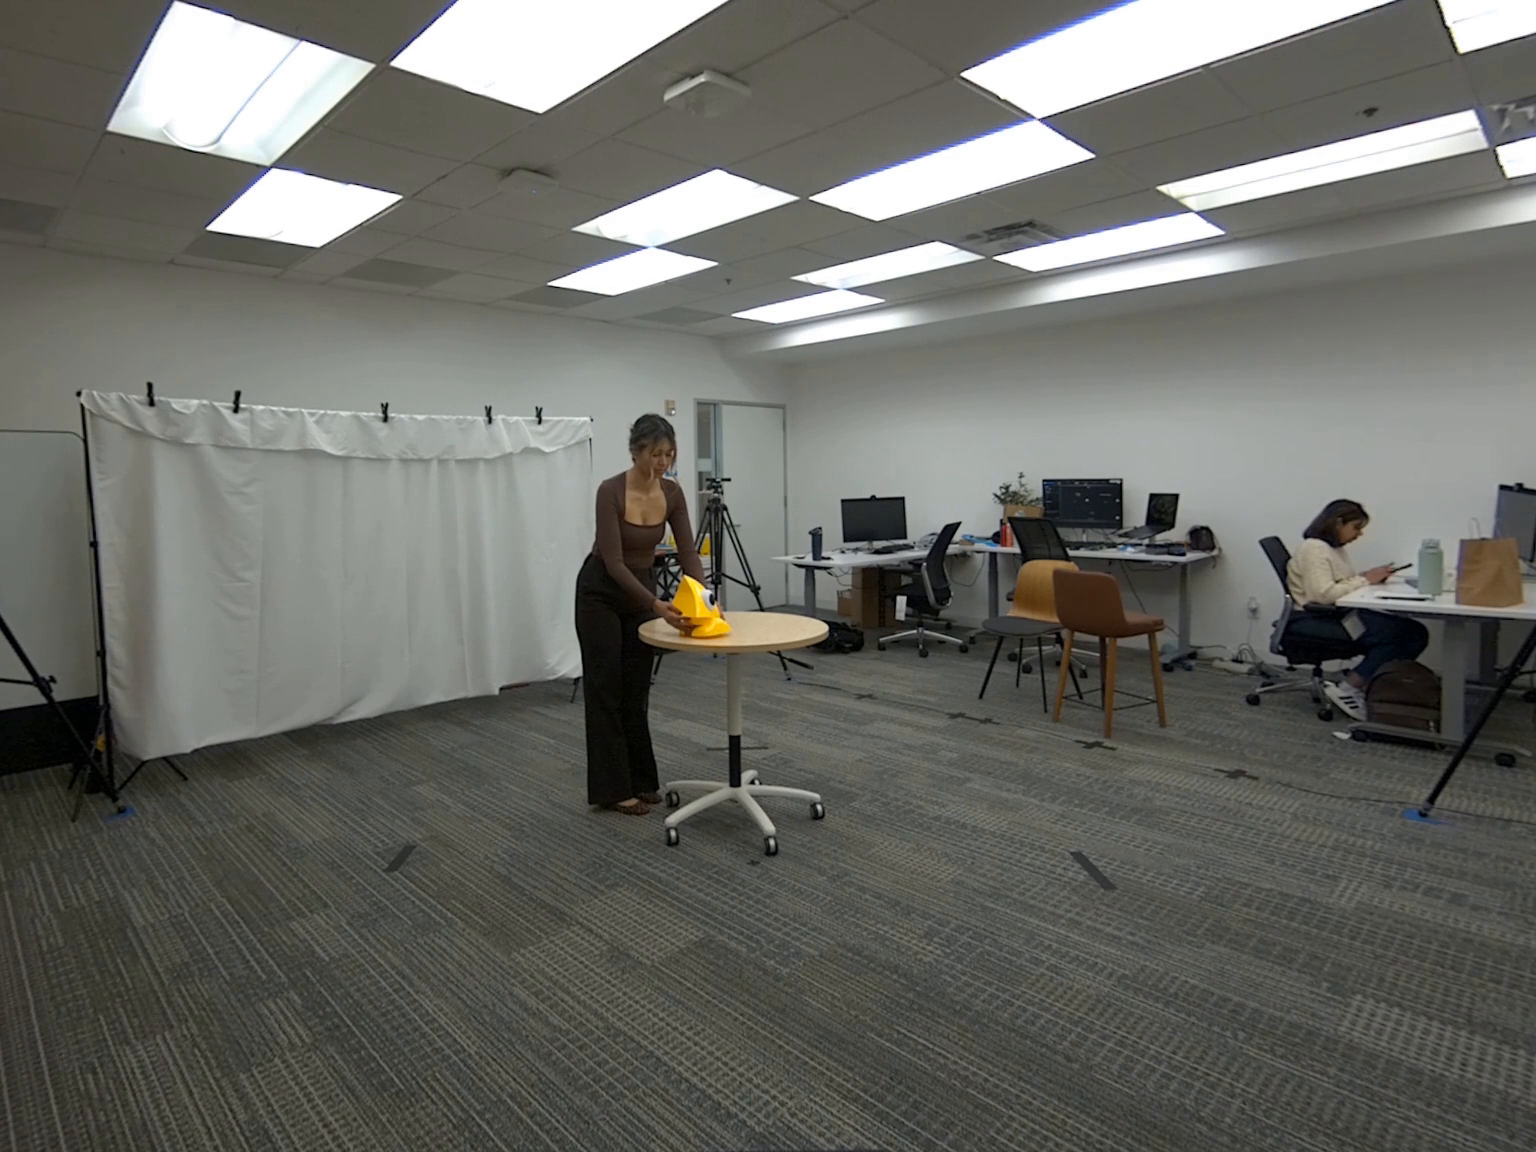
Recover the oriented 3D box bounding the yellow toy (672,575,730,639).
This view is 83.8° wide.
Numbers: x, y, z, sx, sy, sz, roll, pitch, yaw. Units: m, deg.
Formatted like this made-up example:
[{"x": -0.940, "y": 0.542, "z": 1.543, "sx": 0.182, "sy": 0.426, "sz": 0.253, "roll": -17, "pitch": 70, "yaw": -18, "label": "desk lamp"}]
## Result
[{"x": -0.264, "y": 0.105, "z": 3.280, "sx": 0.188, "sy": 0.230, "sz": 0.210, "roll": -7, "pitch": 4, "yaw": -38, "label": "yellow toy"}]
